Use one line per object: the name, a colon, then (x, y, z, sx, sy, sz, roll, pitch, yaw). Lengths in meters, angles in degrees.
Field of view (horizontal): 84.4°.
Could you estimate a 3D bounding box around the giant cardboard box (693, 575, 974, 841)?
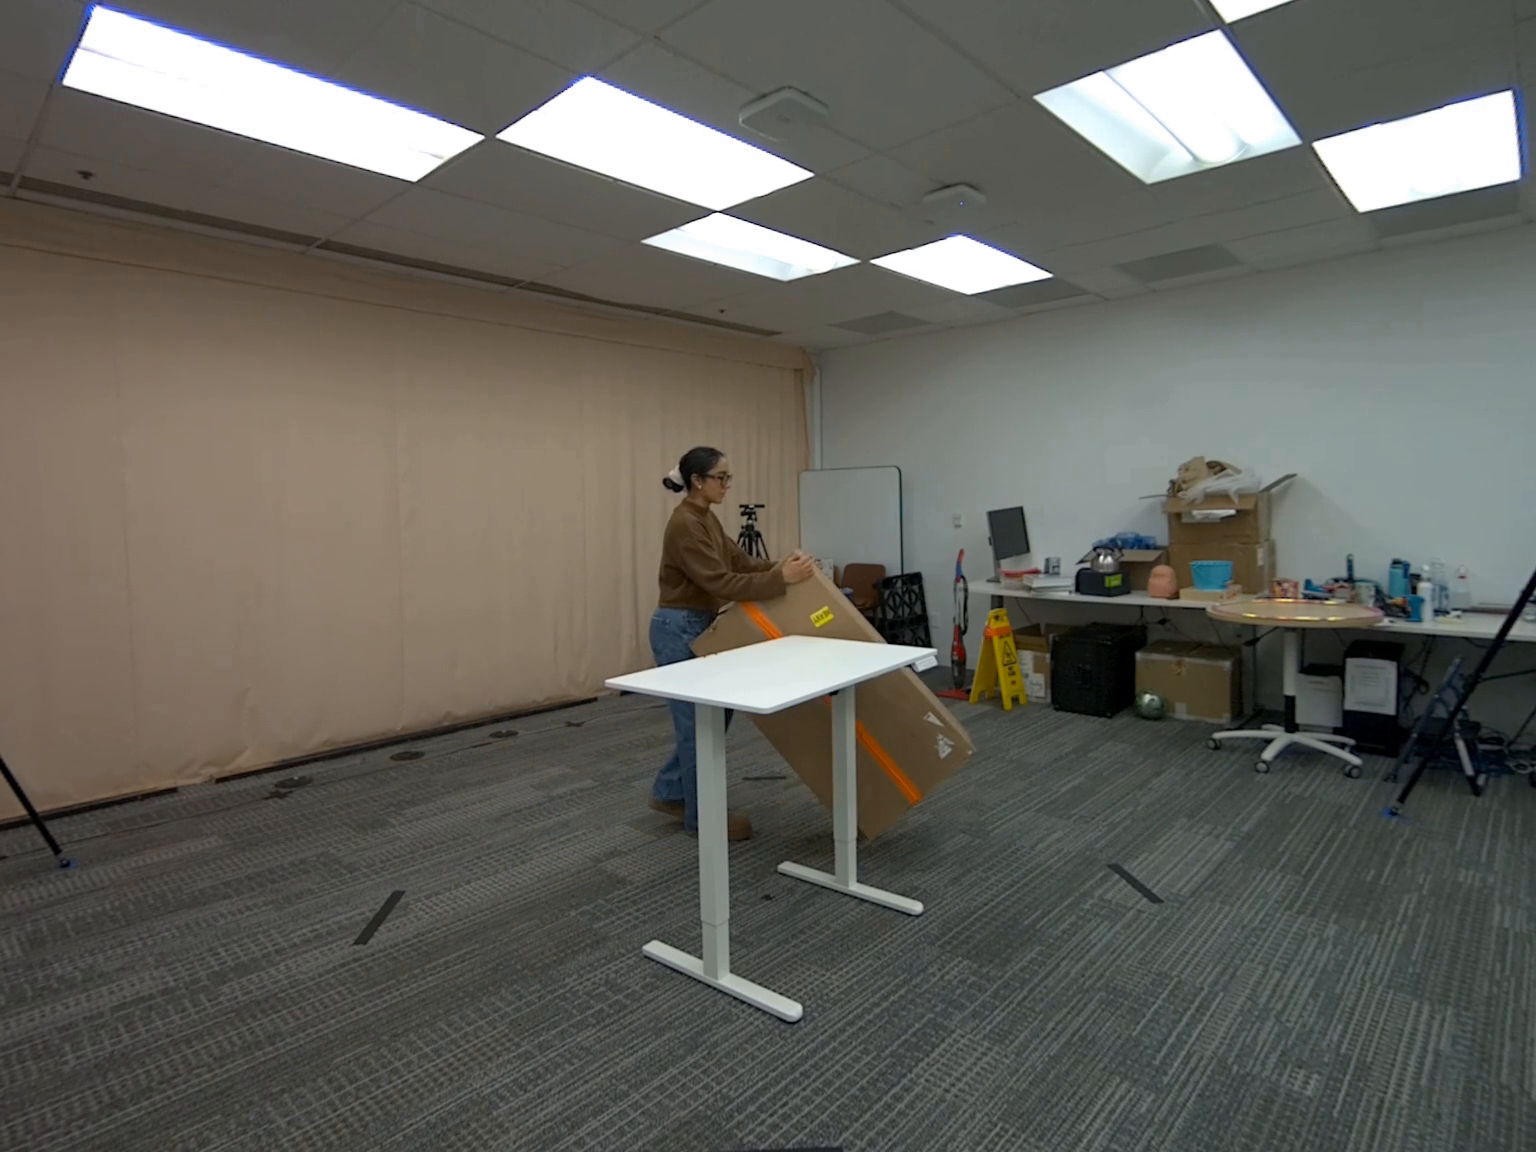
giant cardboard box: (0.260, 0.471, 3.446, 0.579, 1.036, 0.421, -43, -8, 7)
